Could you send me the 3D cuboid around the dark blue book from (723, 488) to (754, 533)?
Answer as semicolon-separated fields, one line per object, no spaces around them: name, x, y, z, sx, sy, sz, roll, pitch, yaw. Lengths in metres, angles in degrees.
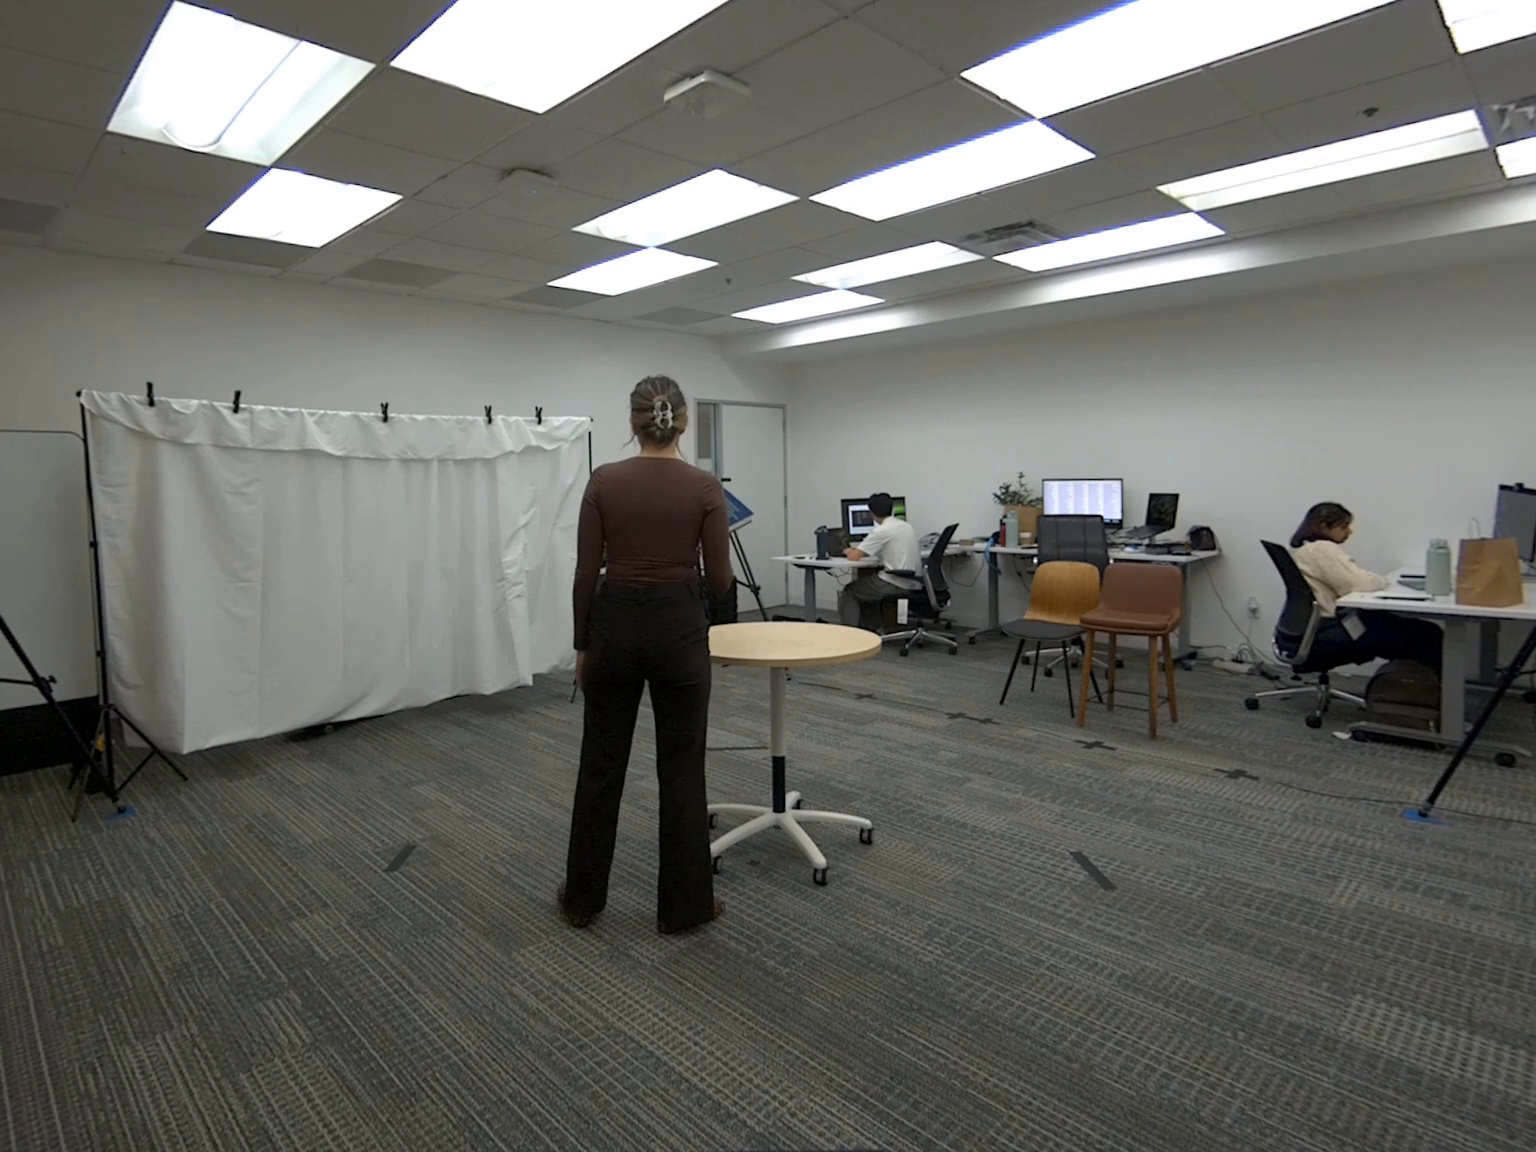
dark blue book;-0.185;-0.201;2.996;0.242;0.044;0.169;-29;57;-34
